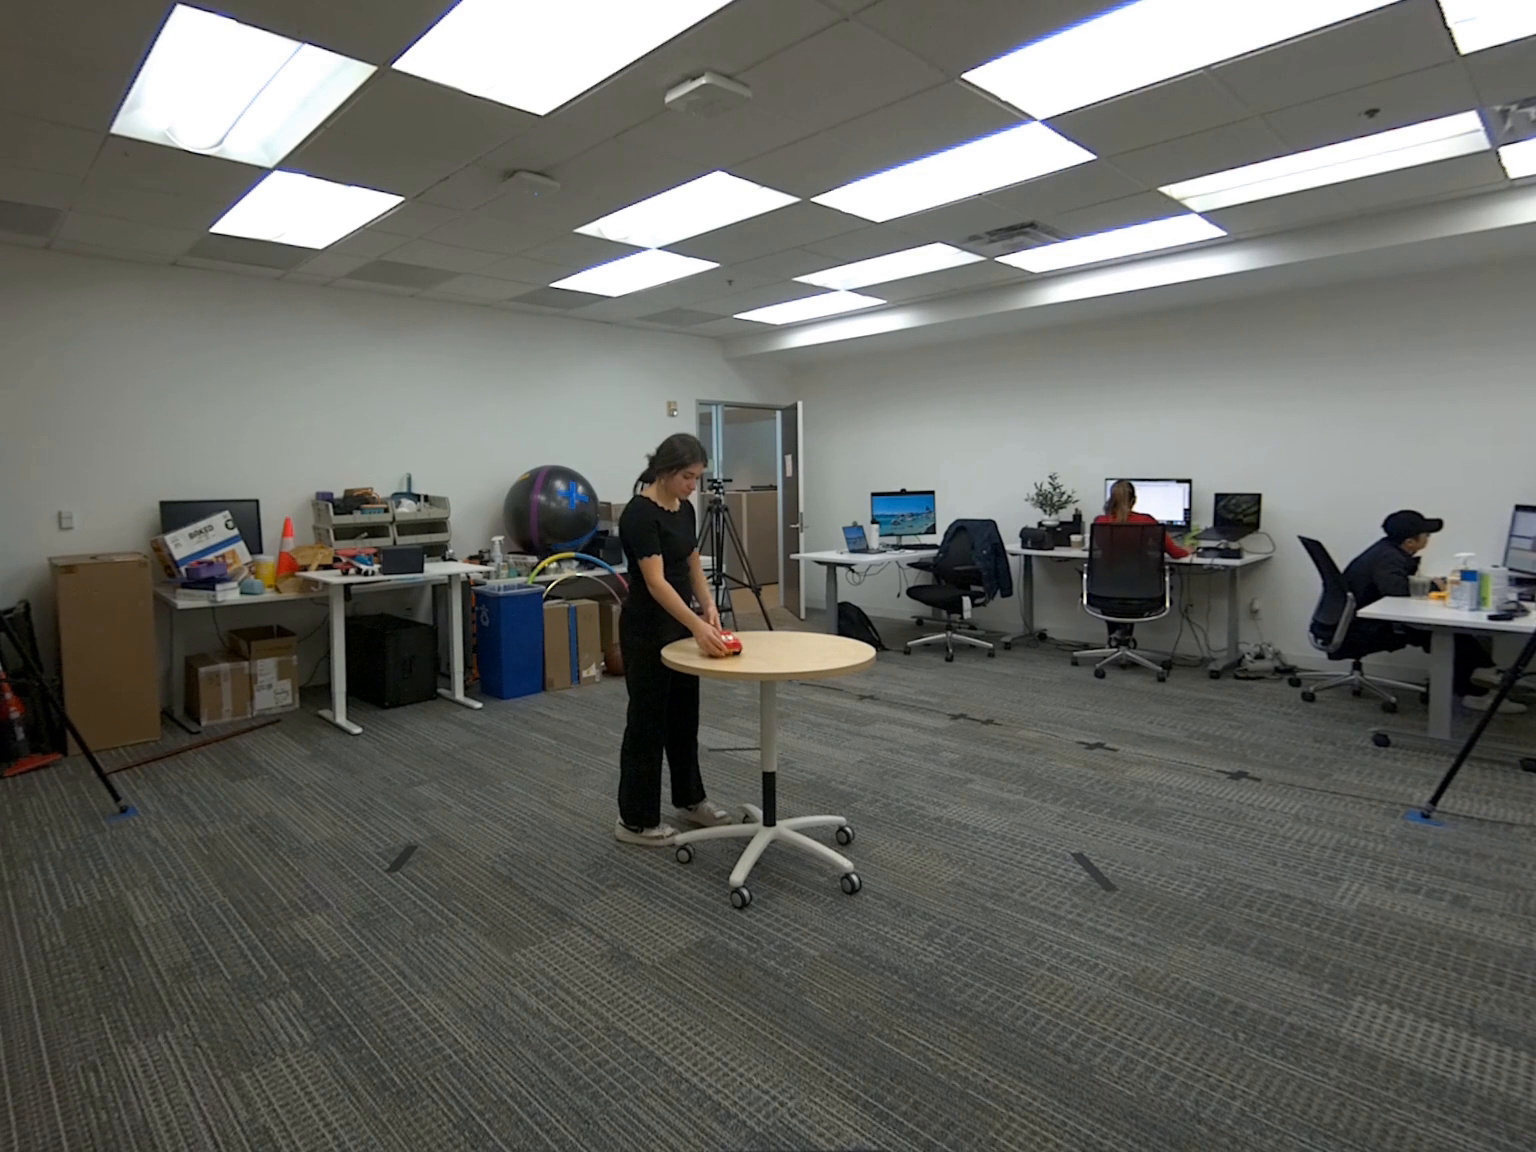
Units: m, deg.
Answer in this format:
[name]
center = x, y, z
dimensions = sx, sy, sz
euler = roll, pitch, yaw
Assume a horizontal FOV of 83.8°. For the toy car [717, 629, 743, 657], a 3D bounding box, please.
[toy car]
center = -0.160, 0.238, 3.025
dimensions = 0.128, 0.083, 0.256
euler = -2, -4, -15
